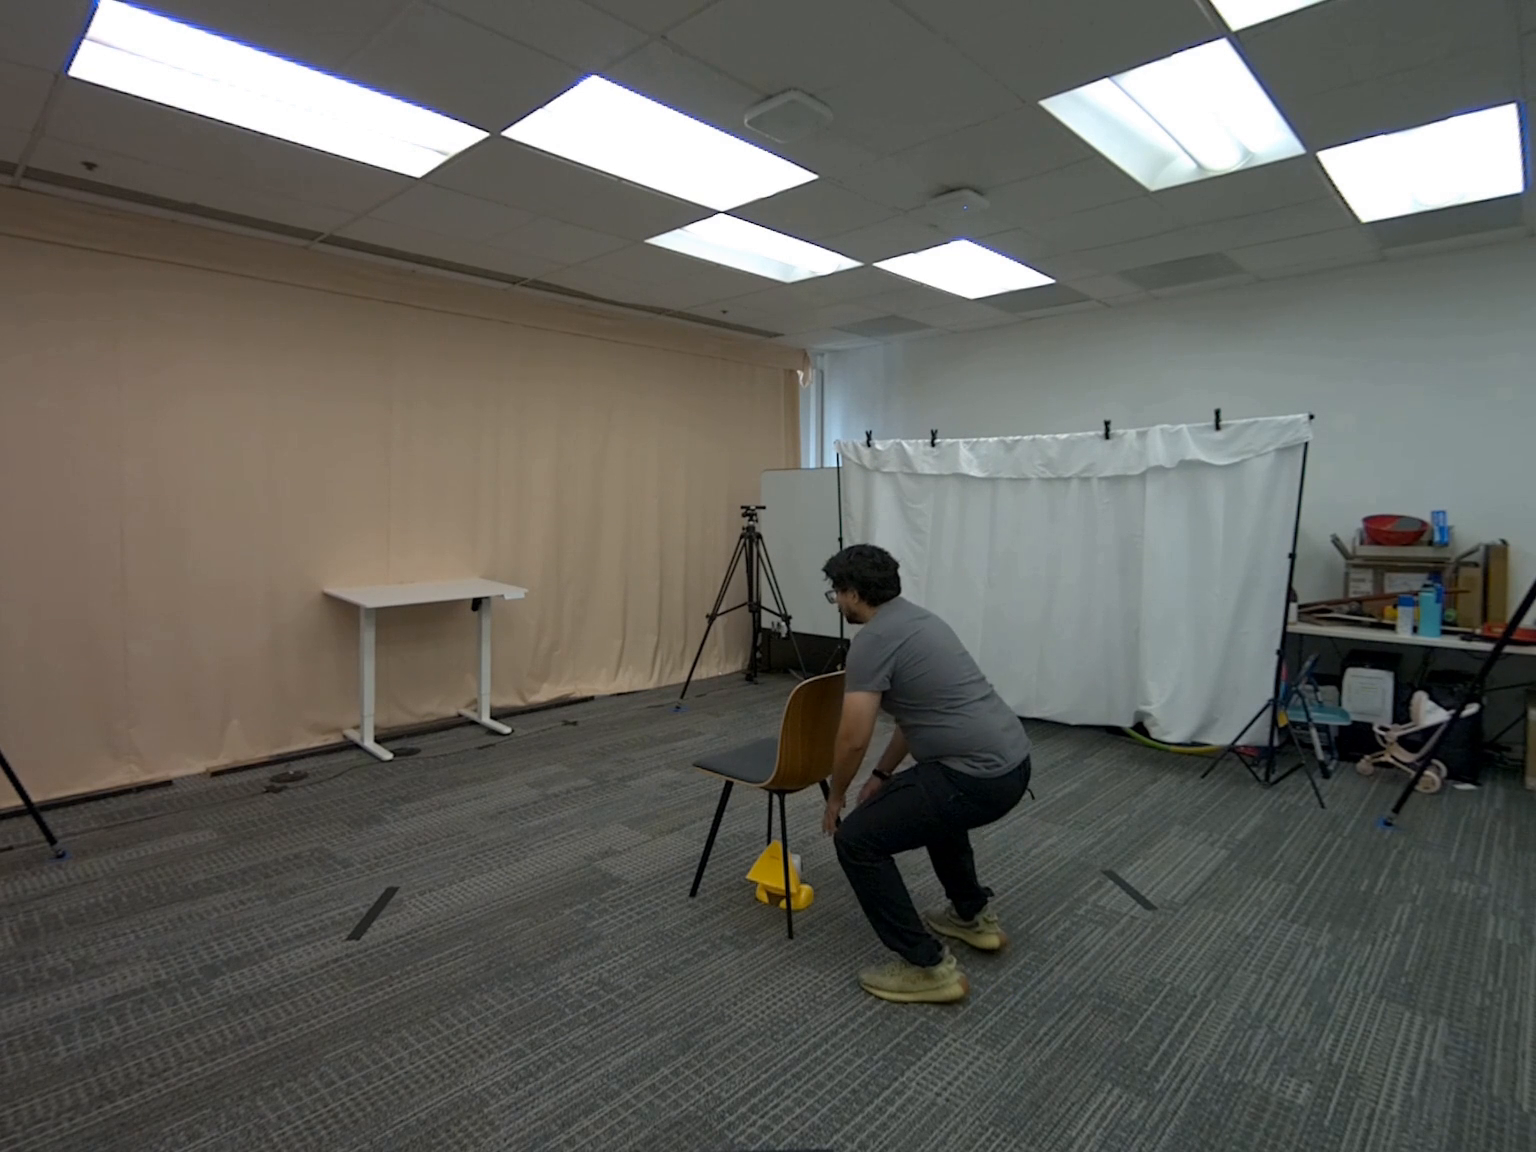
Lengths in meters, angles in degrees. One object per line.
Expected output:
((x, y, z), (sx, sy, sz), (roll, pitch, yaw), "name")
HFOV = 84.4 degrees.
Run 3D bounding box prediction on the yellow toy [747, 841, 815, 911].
((0.059, 1.029, 2.980), (0.211, 0.230, 0.187), (3, 5, 34), "yellow toy")
